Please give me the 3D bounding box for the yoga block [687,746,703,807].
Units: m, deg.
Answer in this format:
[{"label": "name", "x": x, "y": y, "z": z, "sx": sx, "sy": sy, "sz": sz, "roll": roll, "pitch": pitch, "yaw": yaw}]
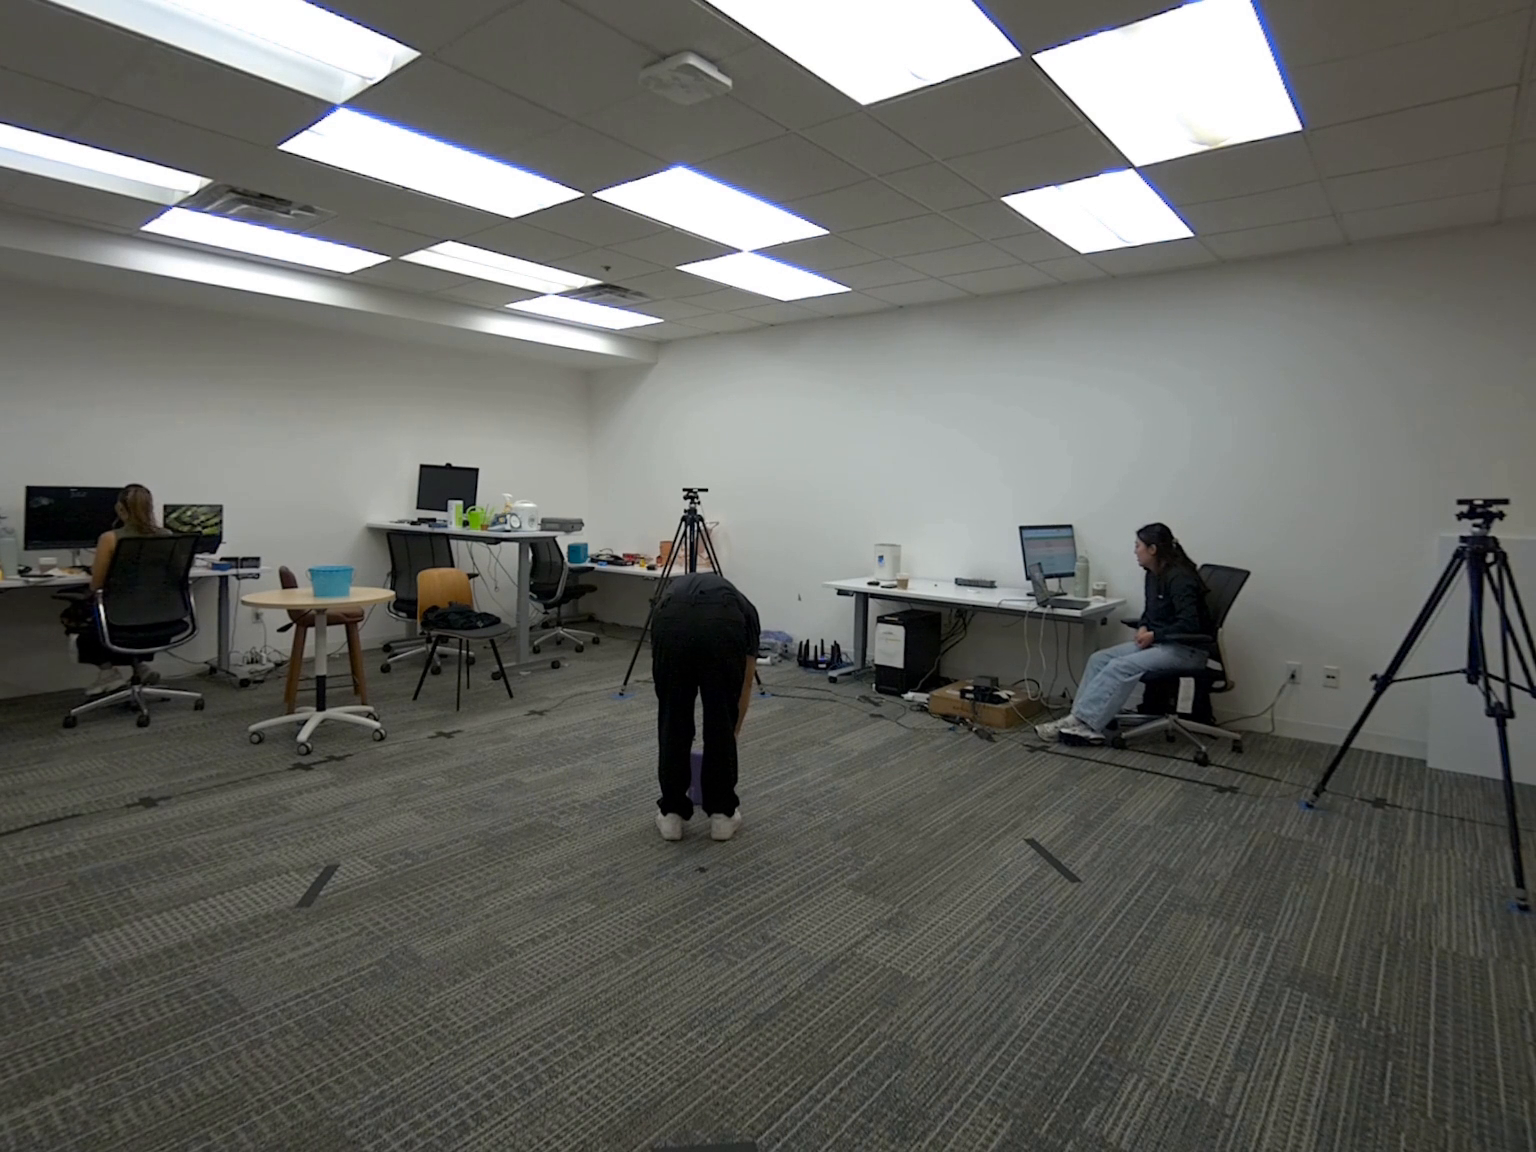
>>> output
[{"label": "yoga block", "x": -0.286, "y": 0.885, "z": 3.761, "sx": 0.150, "sy": 0.229, "sz": 0.076, "roll": 2, "pitch": 2, "yaw": 5}]
